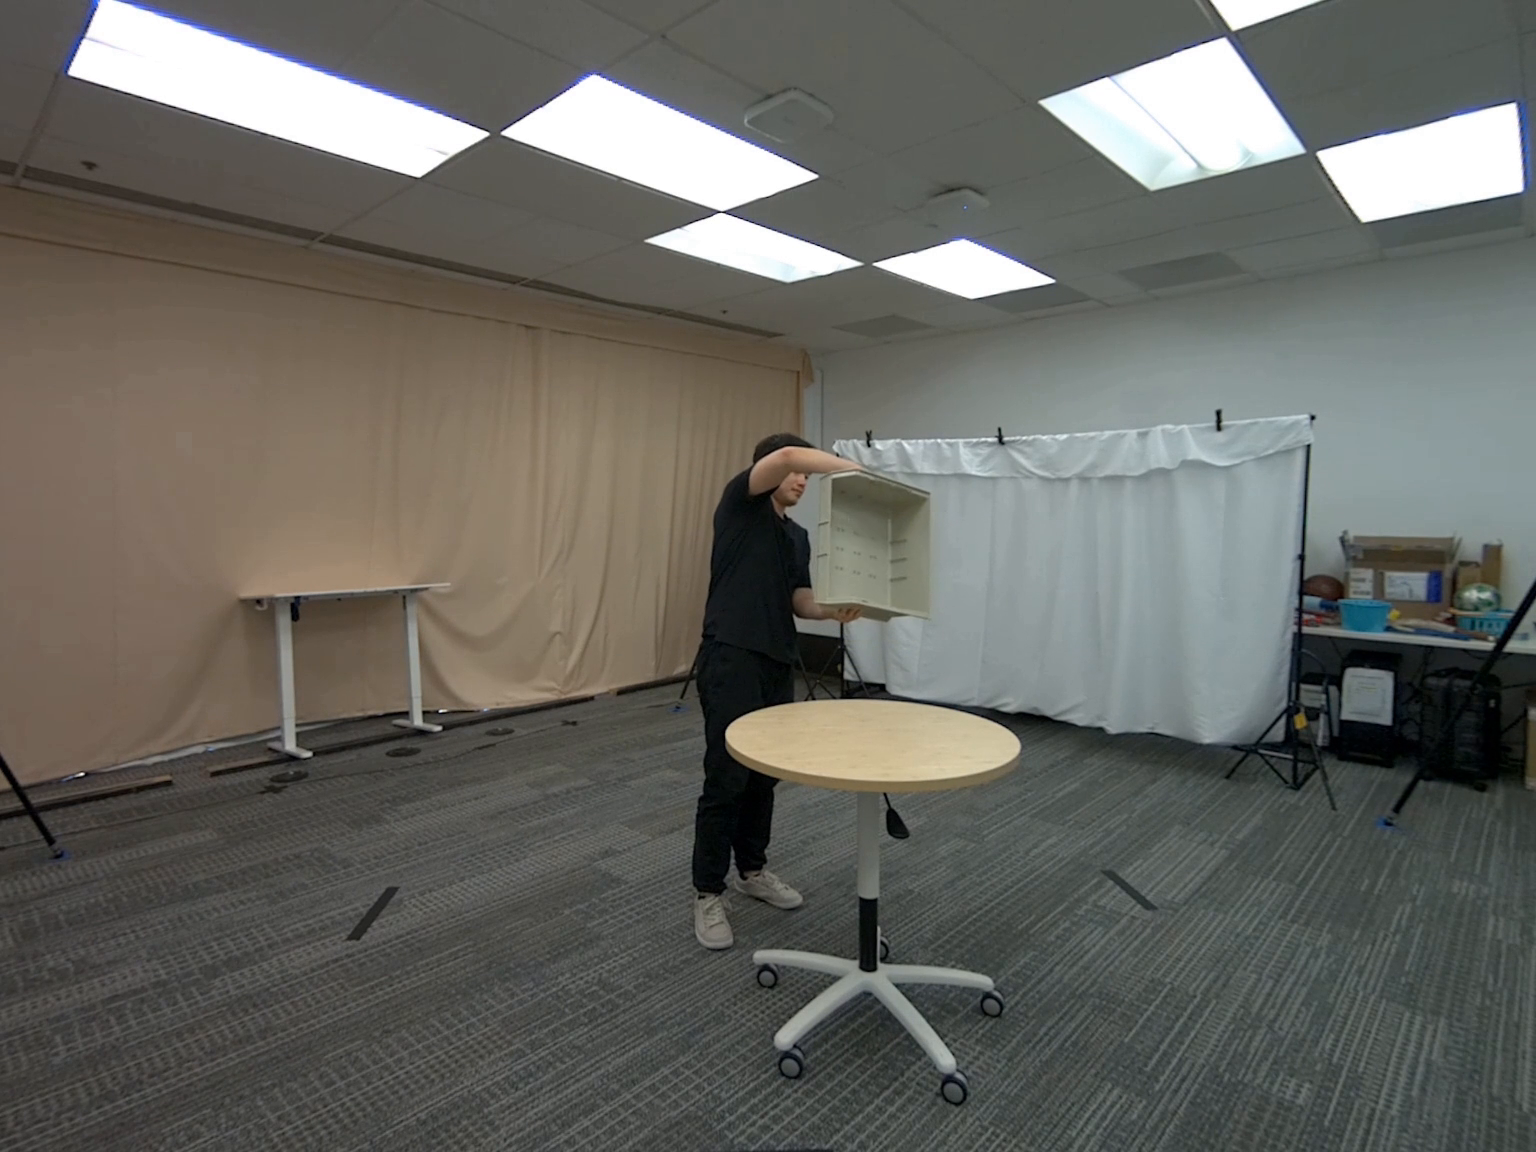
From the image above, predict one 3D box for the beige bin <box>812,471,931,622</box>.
[{"bbox_3d":[0.334,-0.090,2.690,0.364,0.425,0.194,12,-17,-38],"label":"beige bin"}]
